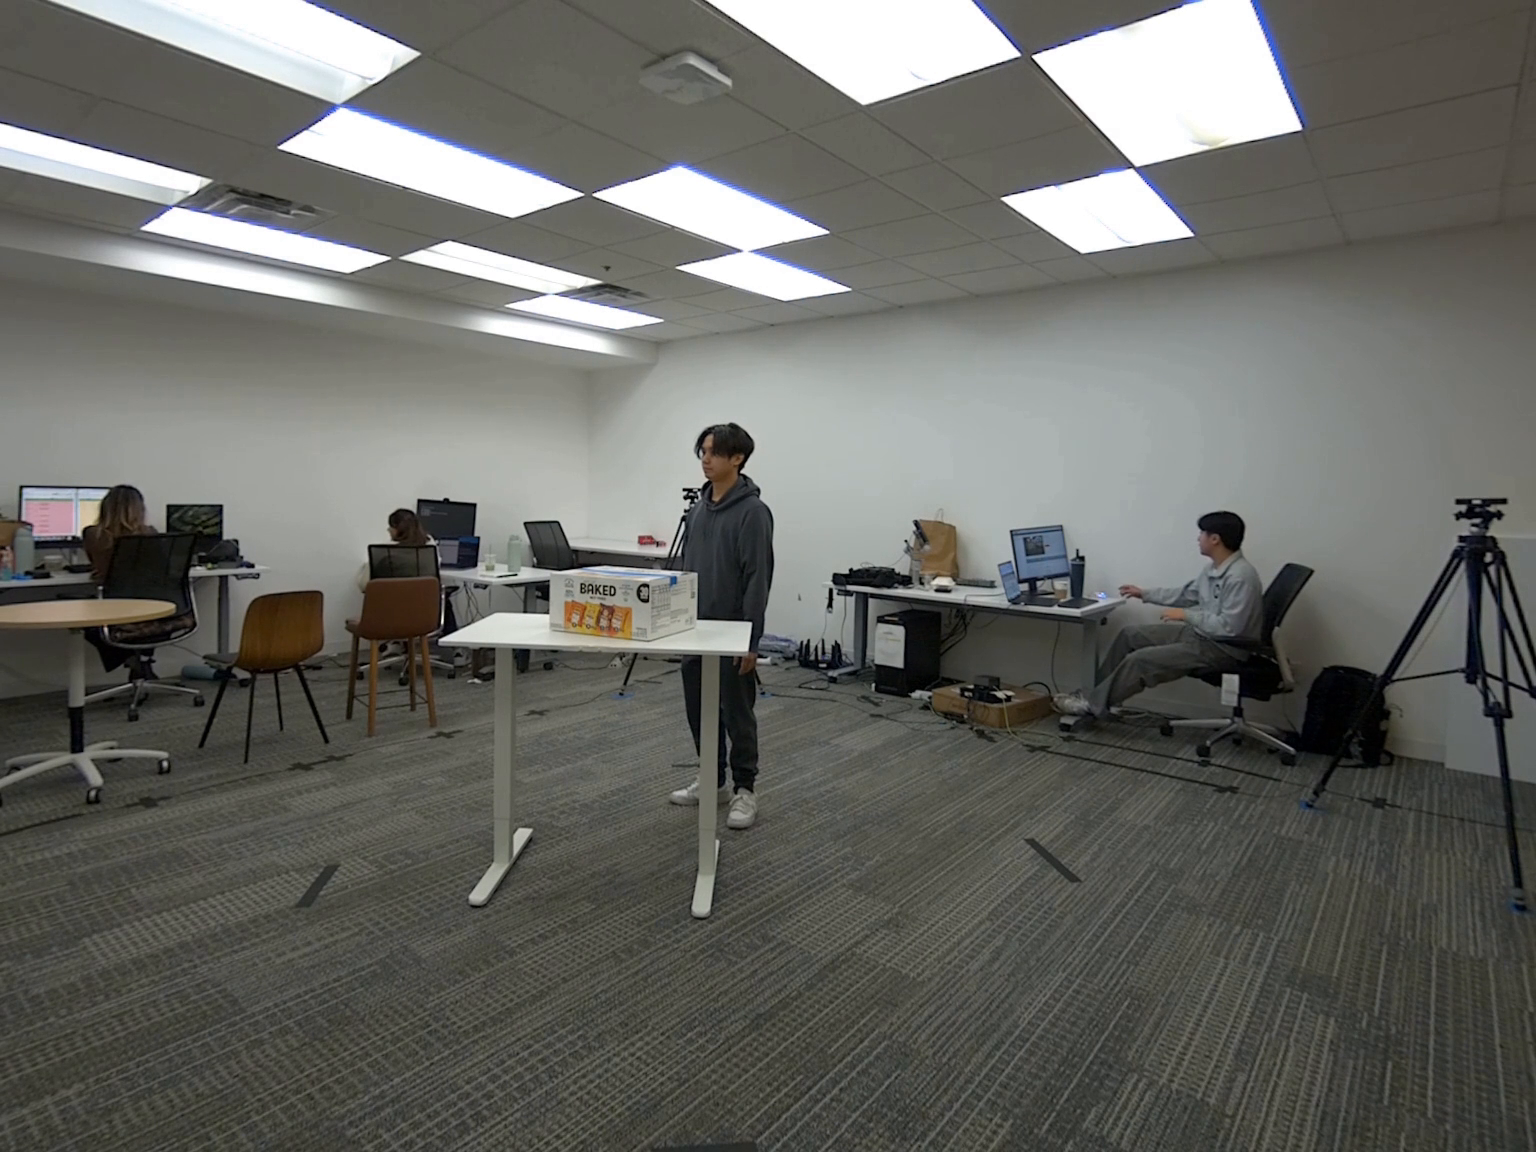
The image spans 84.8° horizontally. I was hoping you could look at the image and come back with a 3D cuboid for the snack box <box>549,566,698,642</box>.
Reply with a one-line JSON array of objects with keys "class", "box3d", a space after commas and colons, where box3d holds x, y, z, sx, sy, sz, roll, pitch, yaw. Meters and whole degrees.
[{"class": "snack box", "box3d": [-0.522, 0.088, 3.035, 0.416, 0.205, 0.333, 4, 6, 25]}]
